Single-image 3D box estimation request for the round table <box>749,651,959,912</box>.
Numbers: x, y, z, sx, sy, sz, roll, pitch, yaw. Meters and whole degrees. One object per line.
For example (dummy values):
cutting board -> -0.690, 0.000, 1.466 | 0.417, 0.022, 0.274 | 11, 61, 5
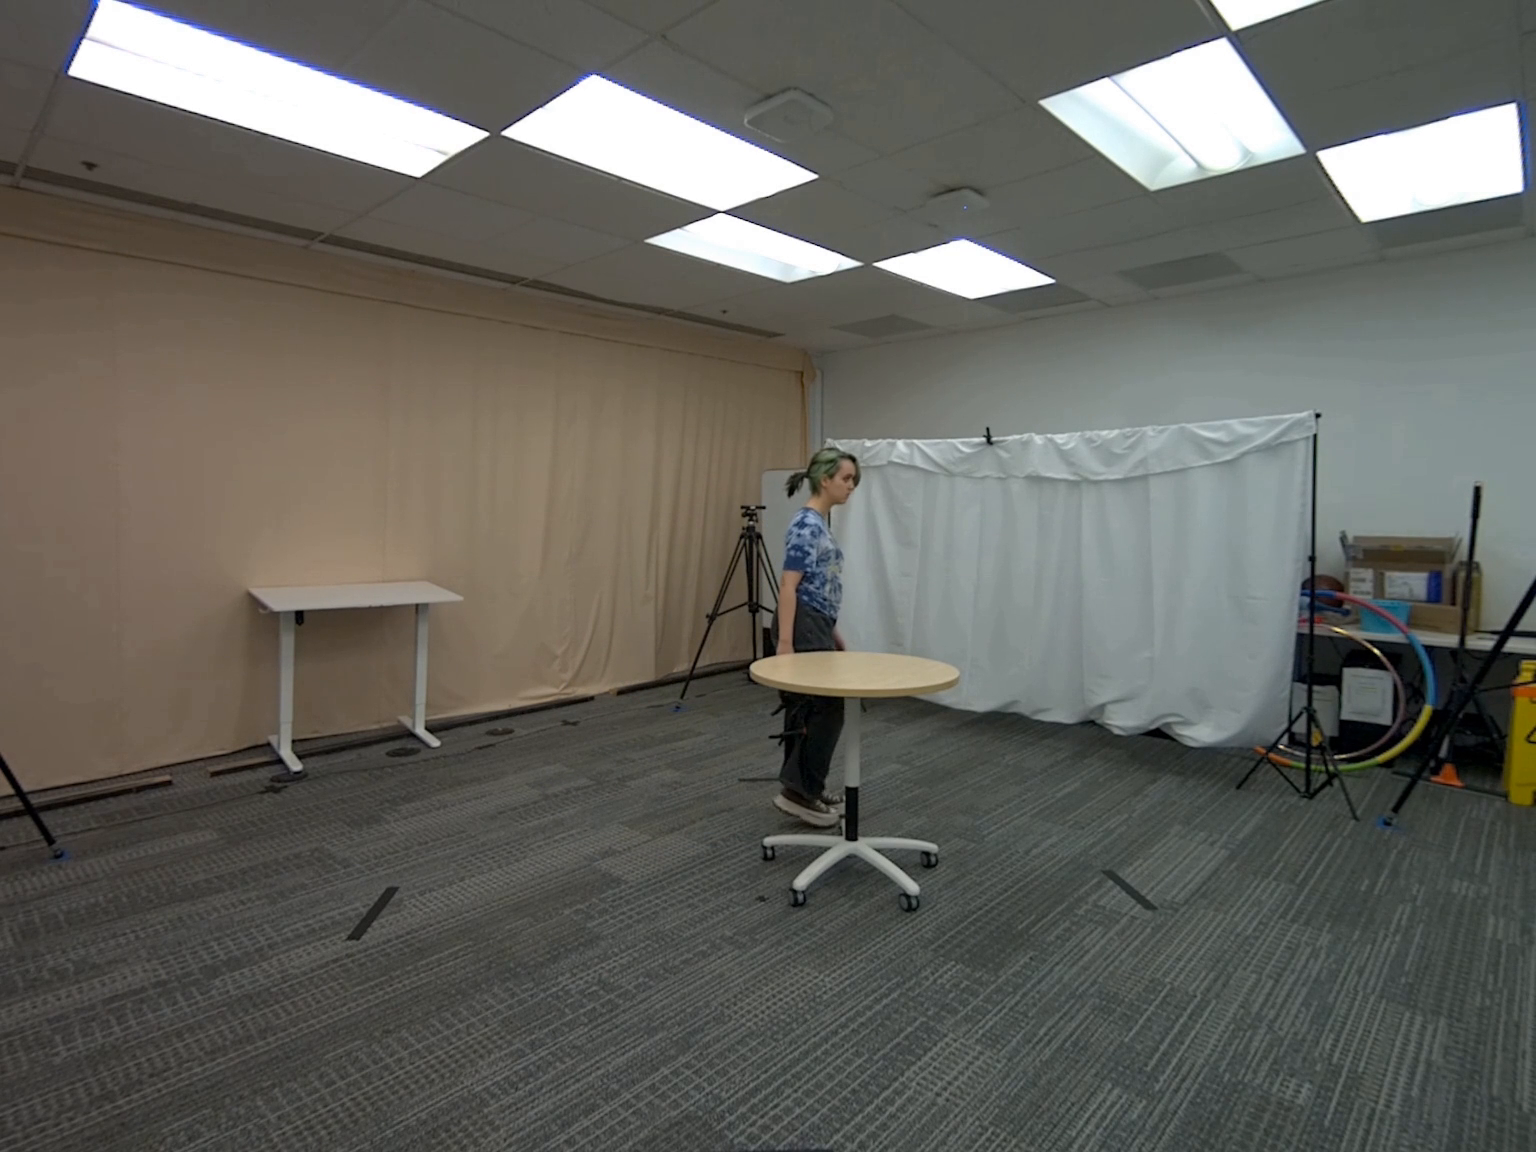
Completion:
round table -> 0.311, 0.736, 3.145 | 0.763, 0.792, 0.766 | 0, 3, -2
